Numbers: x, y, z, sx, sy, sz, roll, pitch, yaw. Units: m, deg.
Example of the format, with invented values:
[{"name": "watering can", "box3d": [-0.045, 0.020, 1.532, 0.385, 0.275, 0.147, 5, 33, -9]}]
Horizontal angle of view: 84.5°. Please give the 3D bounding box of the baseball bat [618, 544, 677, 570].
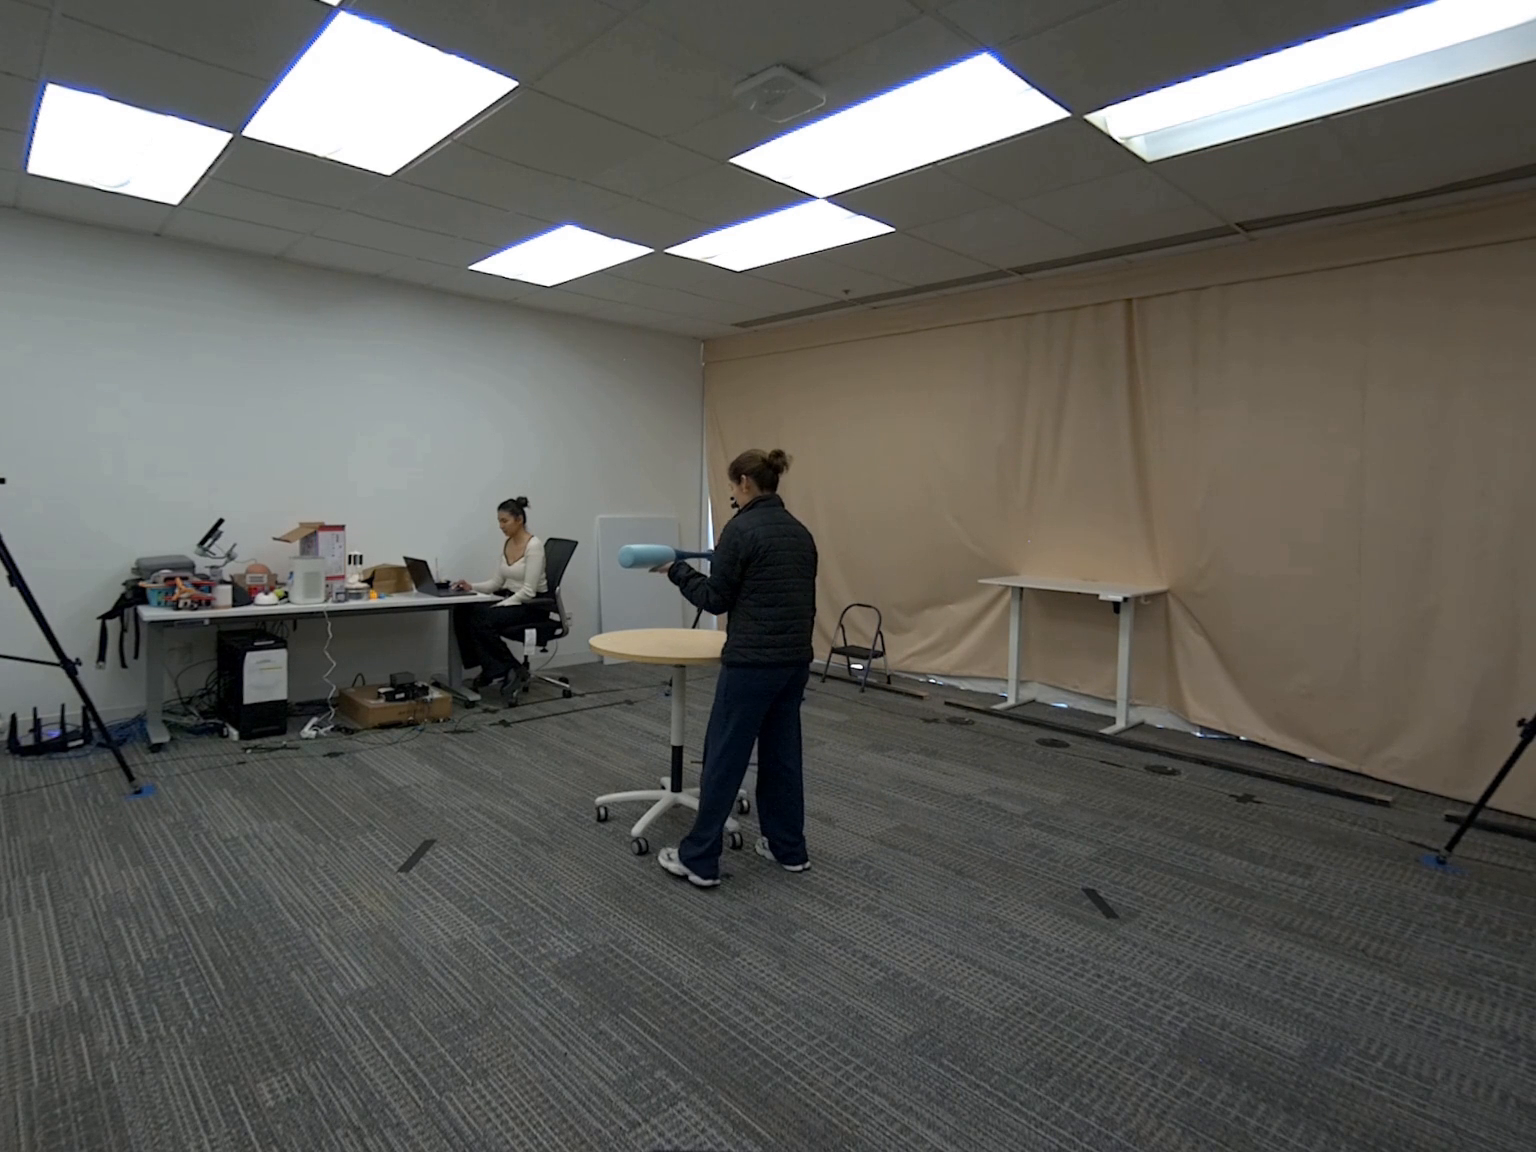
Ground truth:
[{"name": "baseball bat", "box3d": [-0.373, -0.076, 3.228, 0.091, 0.089, 0.531, 4, 5, 35]}]
